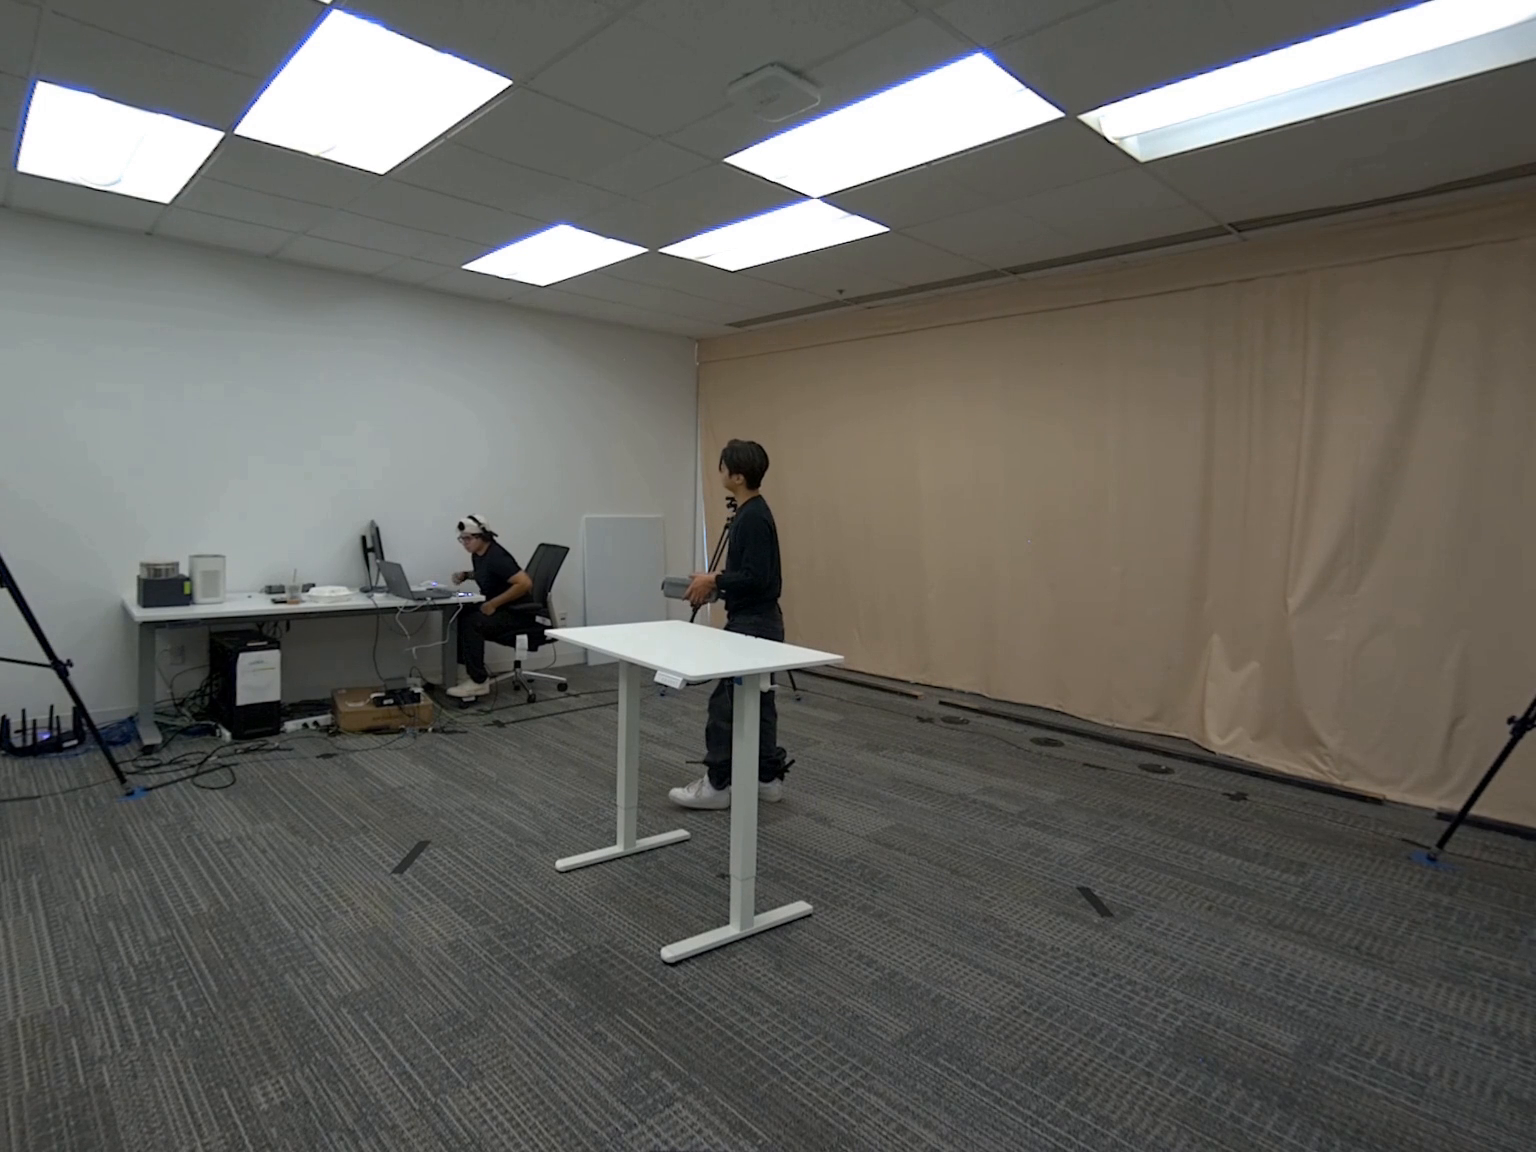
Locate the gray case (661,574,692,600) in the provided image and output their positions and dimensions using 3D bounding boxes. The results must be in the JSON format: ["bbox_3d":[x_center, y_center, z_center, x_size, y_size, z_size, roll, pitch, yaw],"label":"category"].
[{"bbox_3d":[-0.352,0.059,3.908,0.261,0.104,0.256,8,2,3],"label":"gray case"}]
